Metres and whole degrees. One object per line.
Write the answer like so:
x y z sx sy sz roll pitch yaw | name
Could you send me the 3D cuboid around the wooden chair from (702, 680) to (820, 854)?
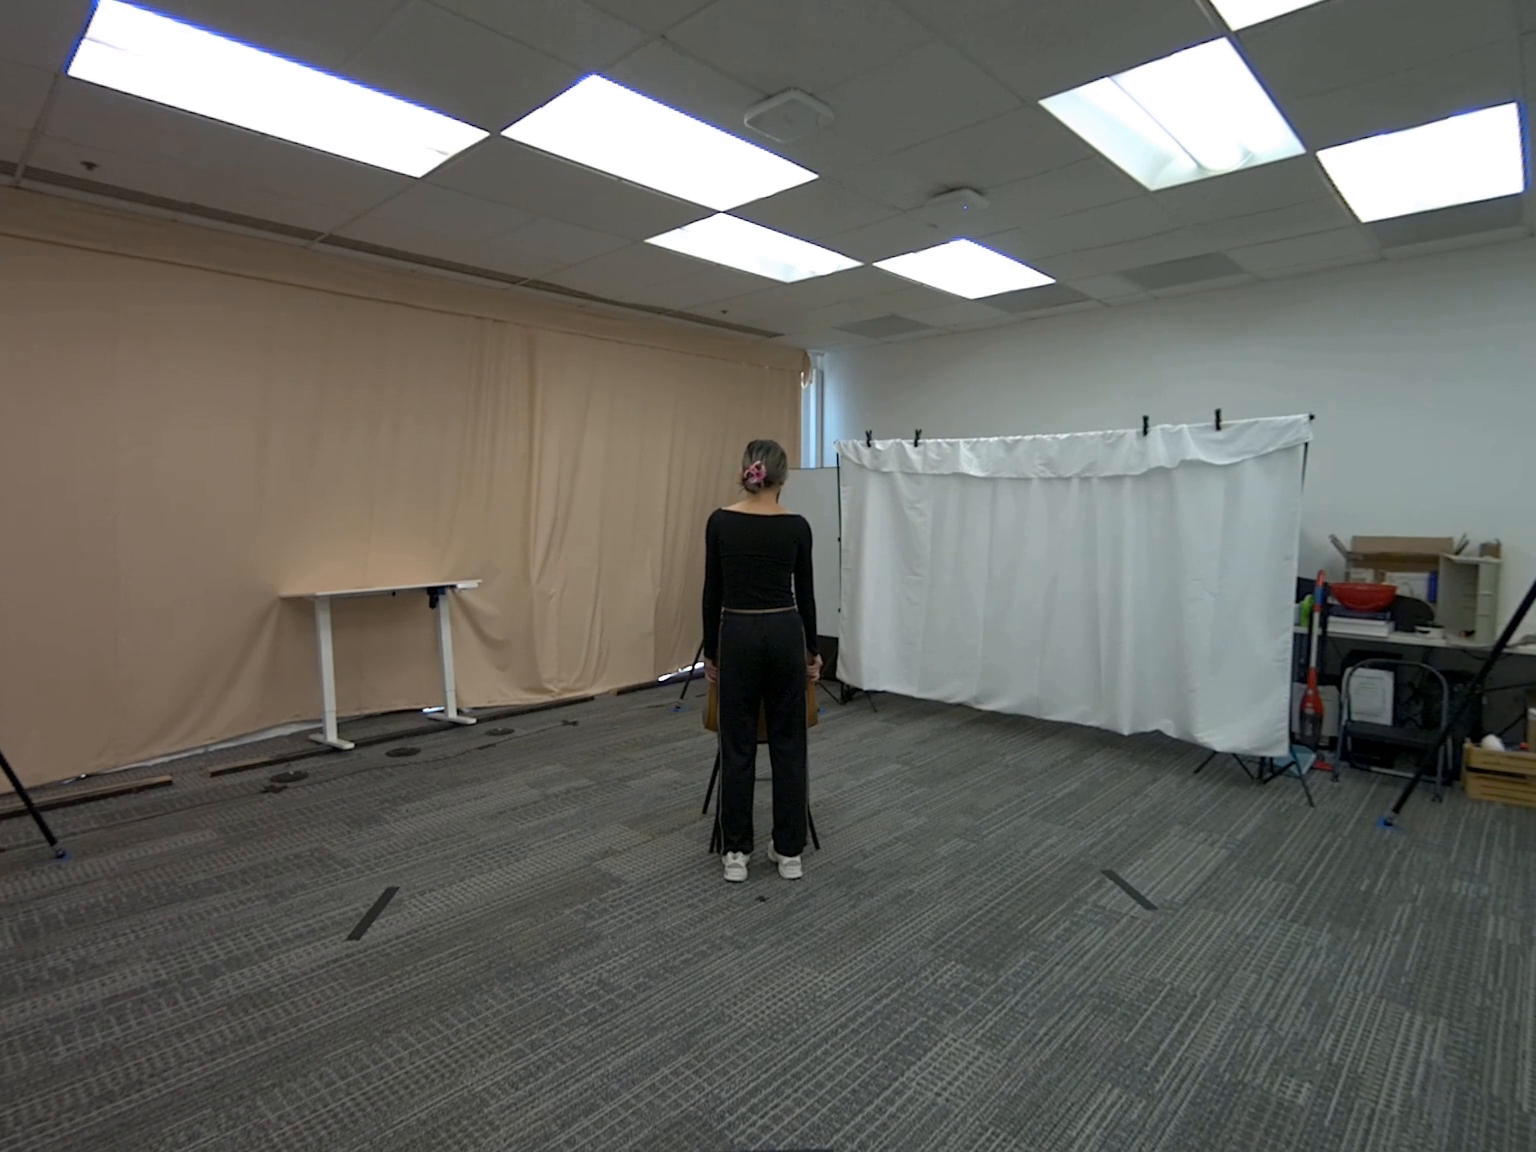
-0.051 0.665 3.595 0.475 0.873 0.528 -1 7 -6 | wooden chair
